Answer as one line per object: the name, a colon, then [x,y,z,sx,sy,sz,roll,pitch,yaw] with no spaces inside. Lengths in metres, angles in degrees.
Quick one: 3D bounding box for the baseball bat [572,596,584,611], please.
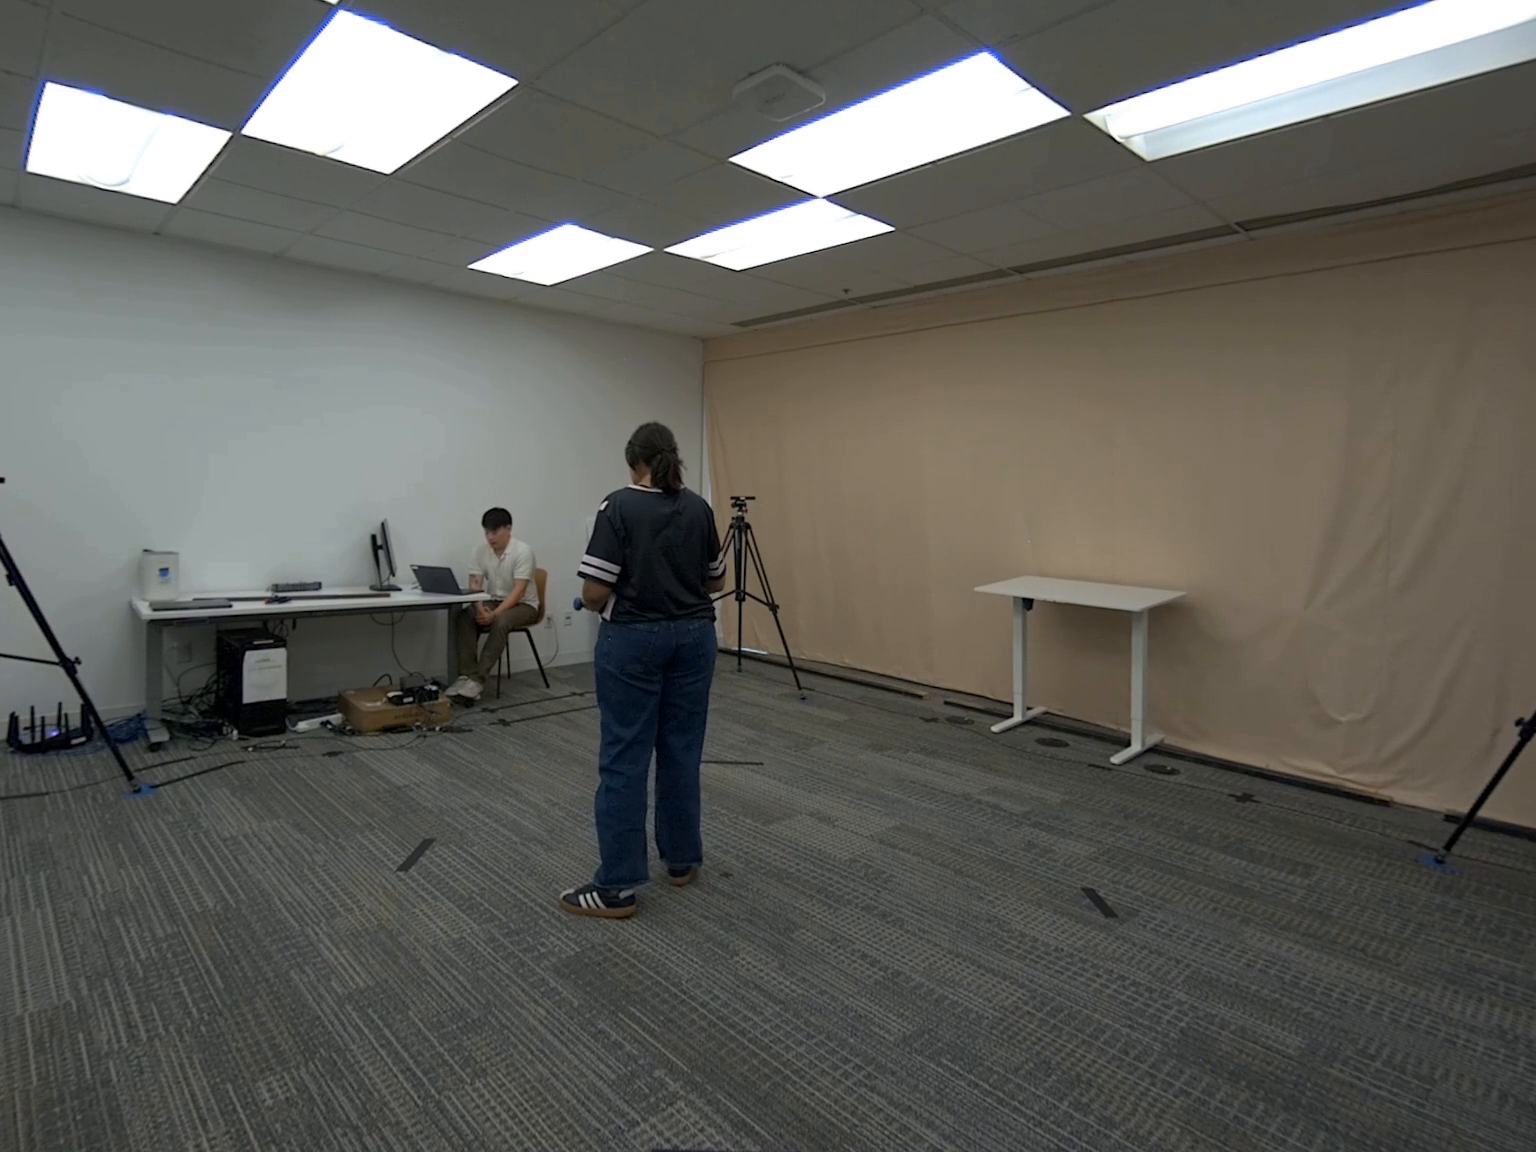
baseball bat: [-0.498,0.134,3.228,0.529,0.089,0.091,7,0,-36]
